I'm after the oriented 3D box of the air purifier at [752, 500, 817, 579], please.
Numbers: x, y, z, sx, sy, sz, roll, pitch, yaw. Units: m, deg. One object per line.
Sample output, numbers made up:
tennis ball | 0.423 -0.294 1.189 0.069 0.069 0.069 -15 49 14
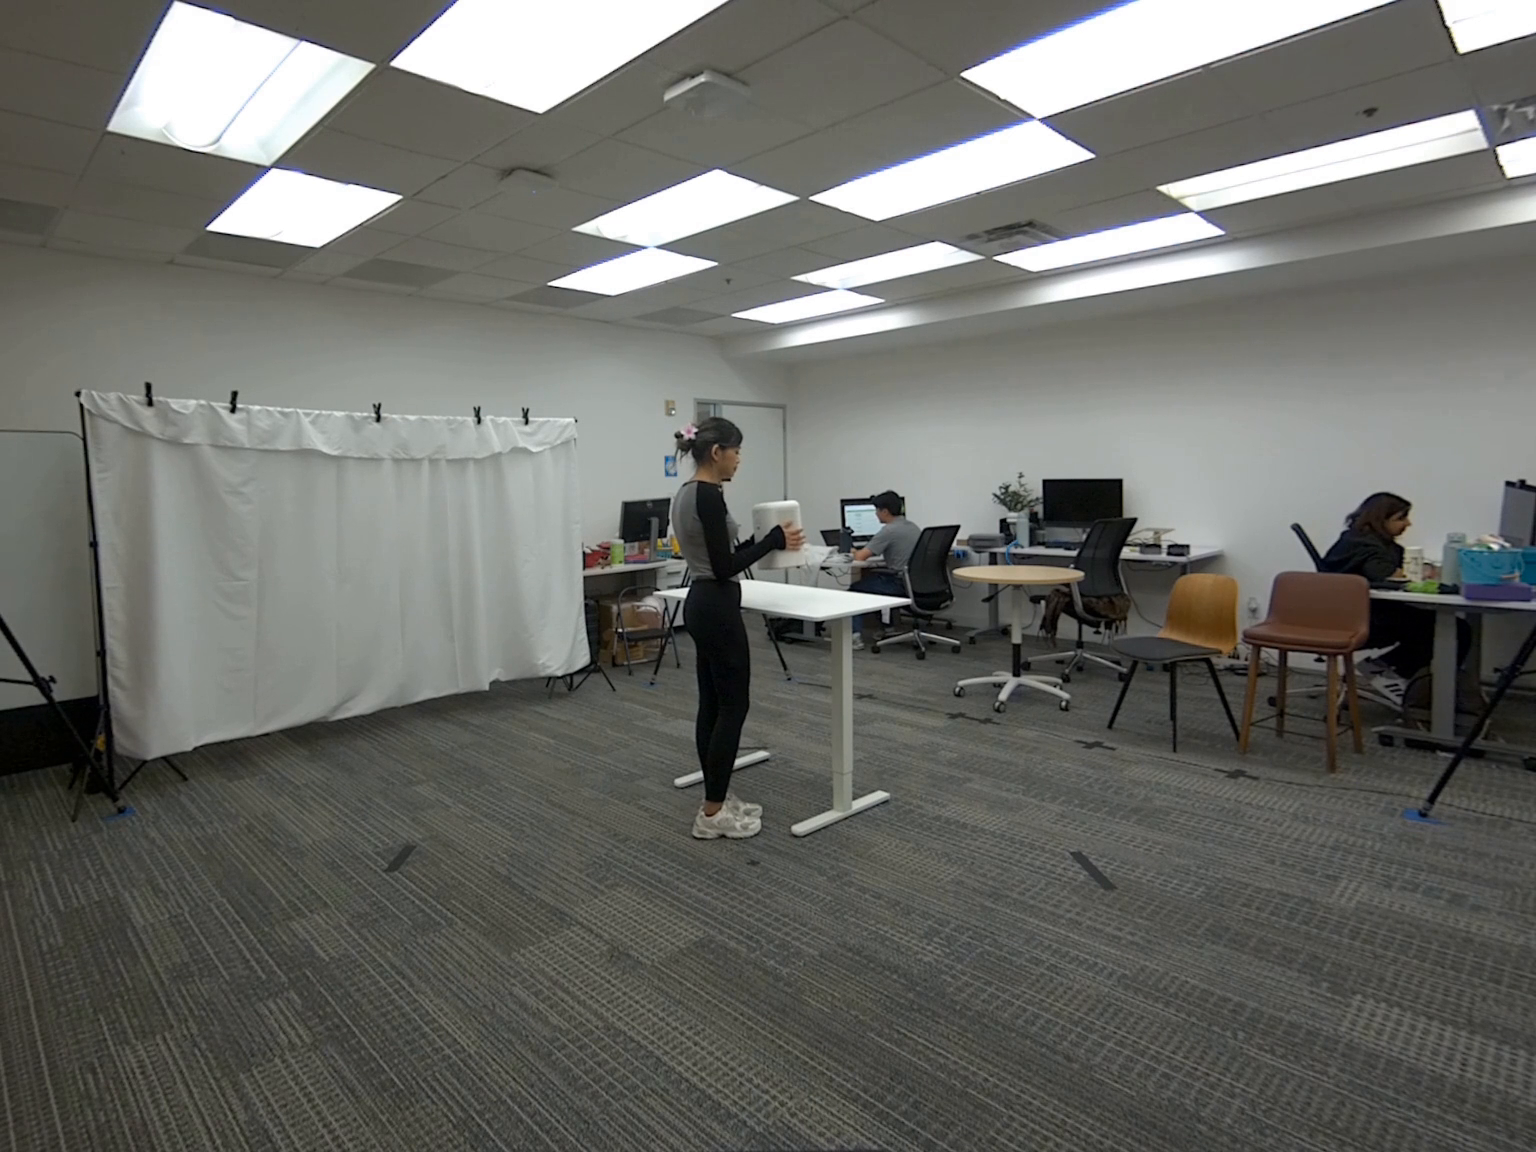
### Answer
air purifier | 0.034 -0.165 3.447 0.168 0.265 0.175 -7 3 -25
